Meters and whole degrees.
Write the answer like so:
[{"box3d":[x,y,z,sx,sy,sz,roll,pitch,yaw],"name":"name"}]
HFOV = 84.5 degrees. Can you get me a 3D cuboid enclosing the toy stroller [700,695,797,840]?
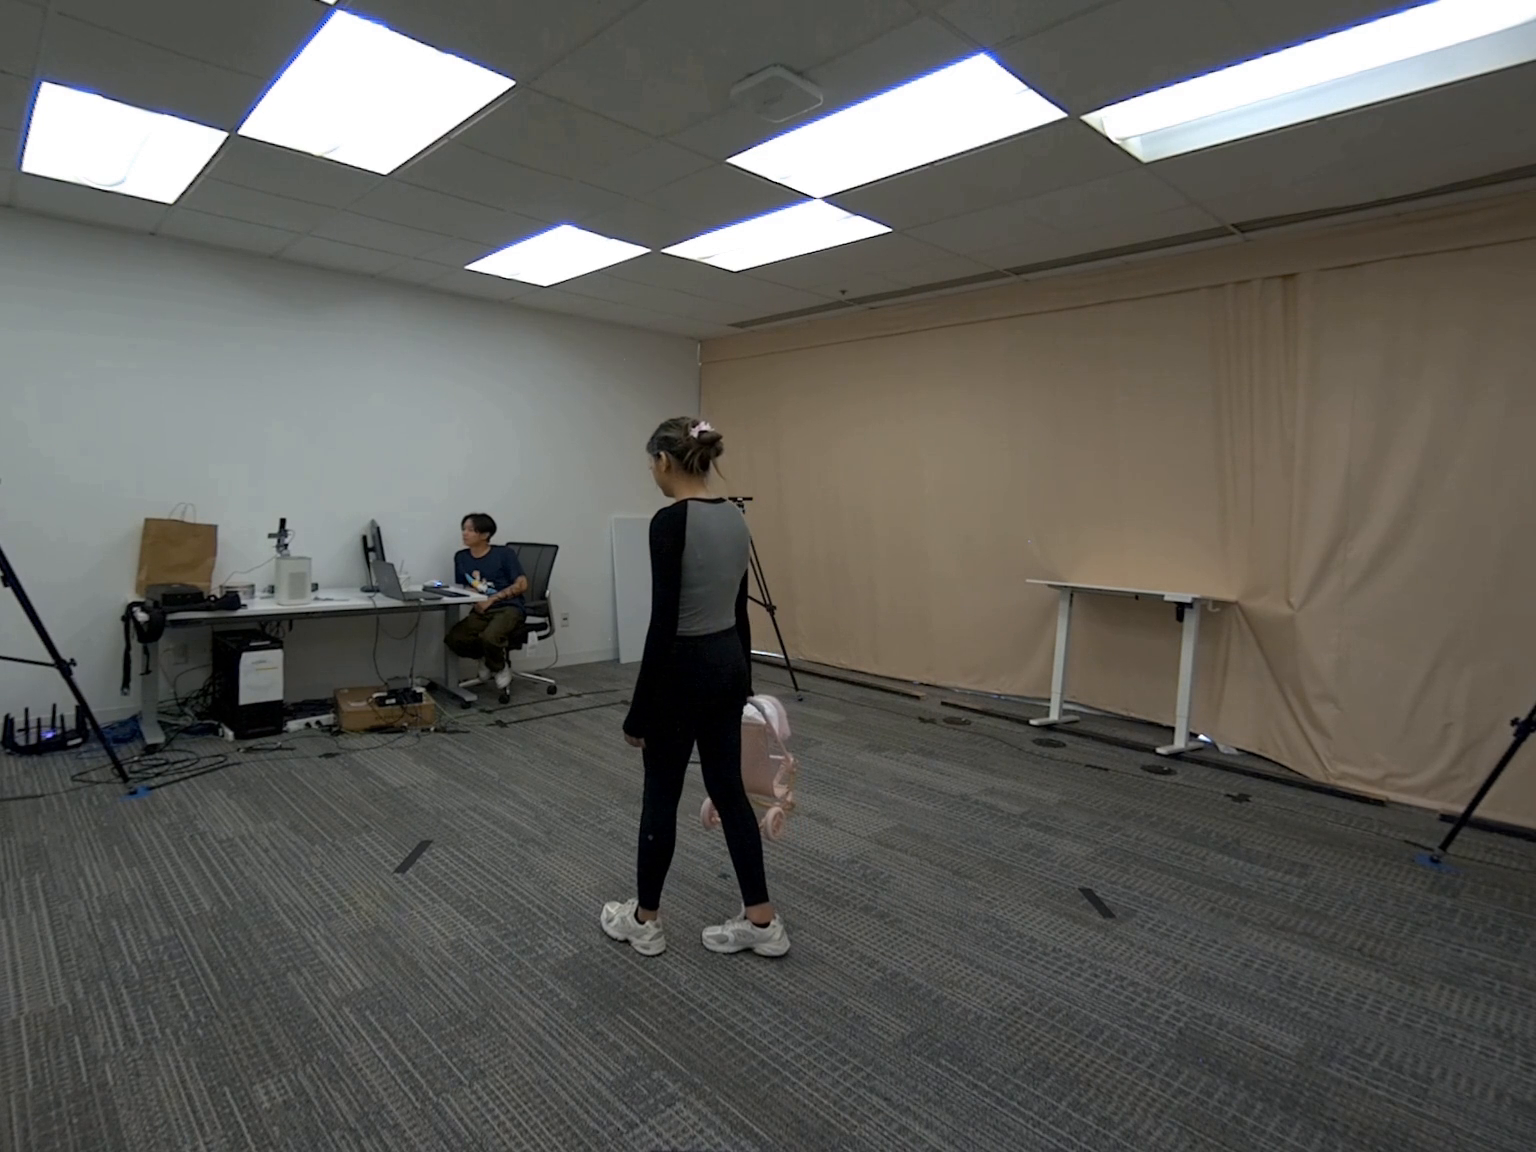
[{"box3d":[-0.040,0.657,2.910,0.287,0.535,0.333,-1,-2,35],"name":"toy stroller"}]
